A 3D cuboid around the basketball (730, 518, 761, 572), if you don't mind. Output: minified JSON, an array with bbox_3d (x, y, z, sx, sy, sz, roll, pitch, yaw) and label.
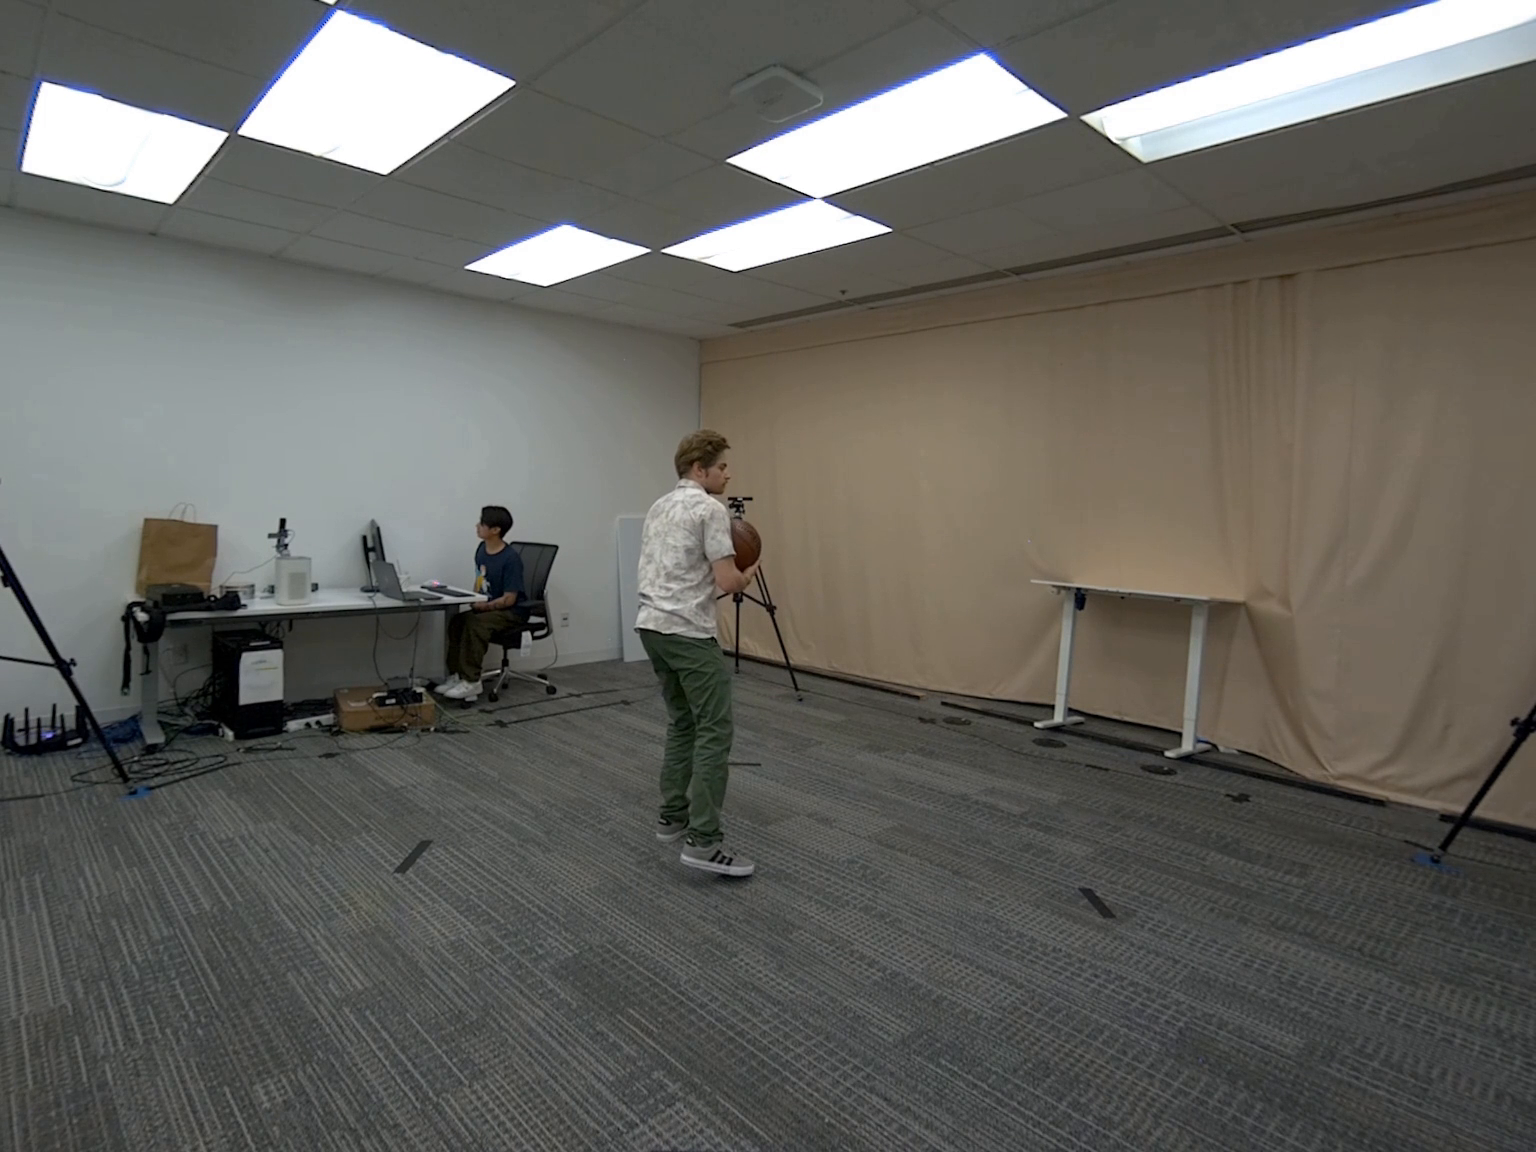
[{"bbox_3d":[-0.157,-0.125,3.638,0.236,0.235,0.237,1,4,-1],"label":"basketball"}]
